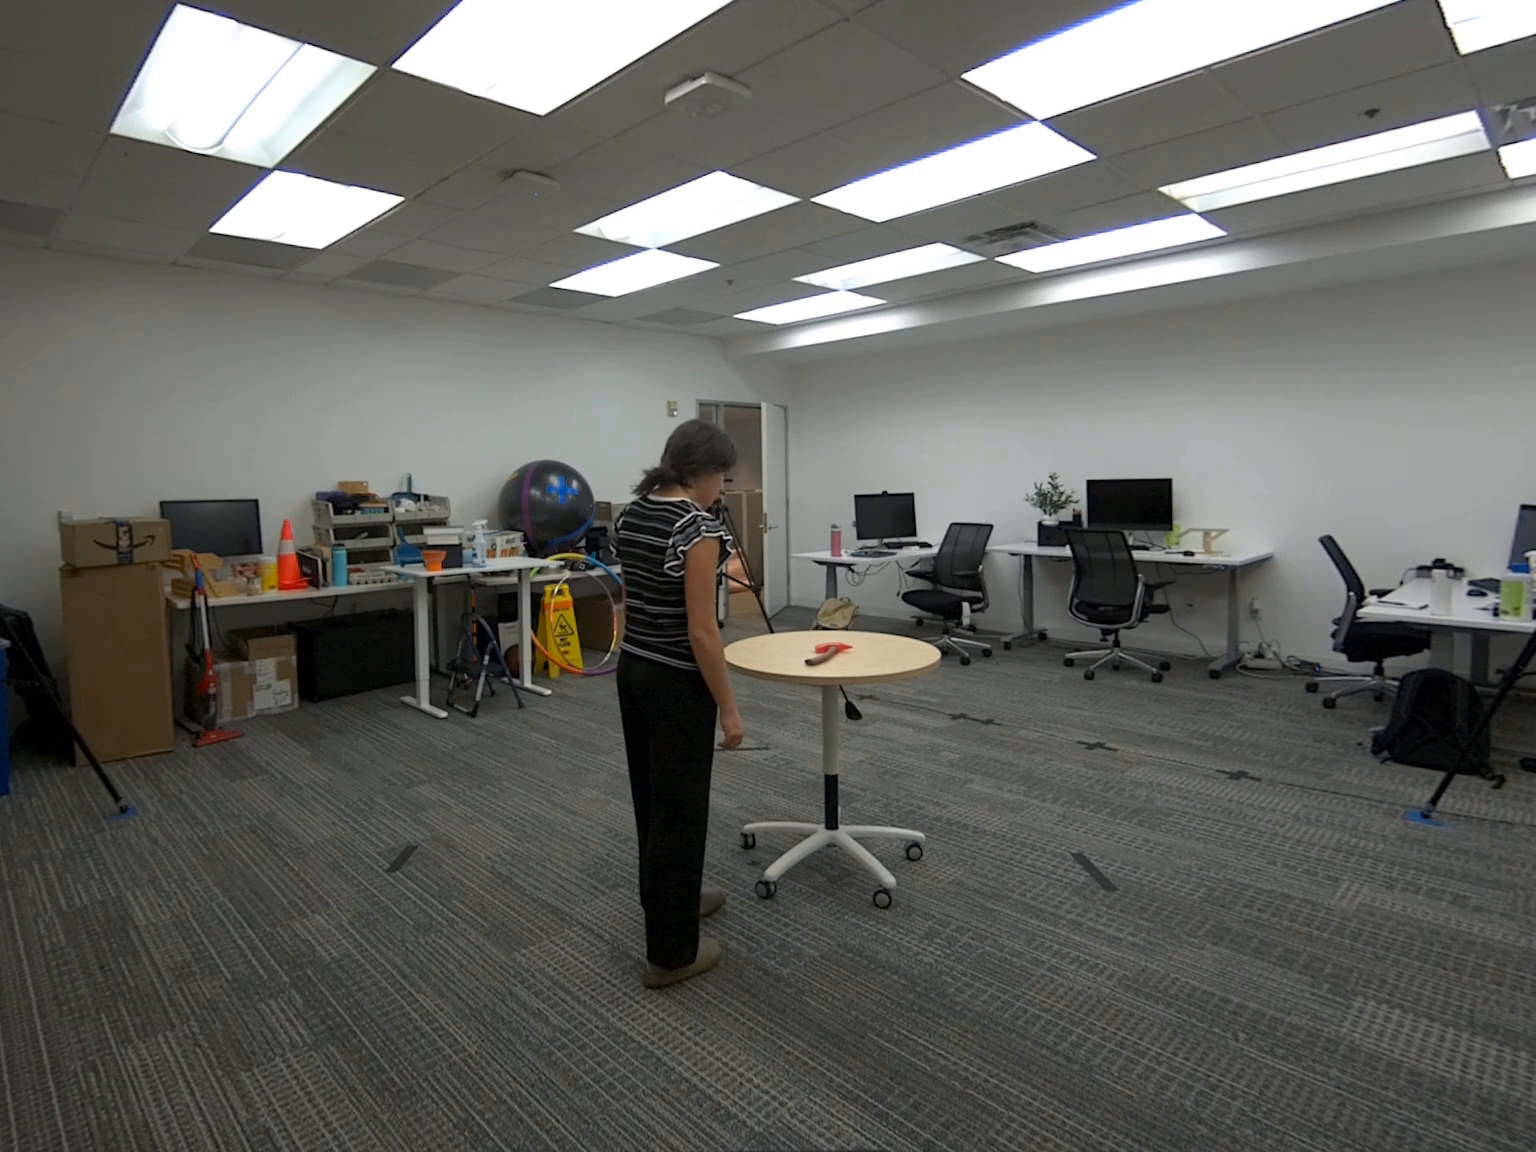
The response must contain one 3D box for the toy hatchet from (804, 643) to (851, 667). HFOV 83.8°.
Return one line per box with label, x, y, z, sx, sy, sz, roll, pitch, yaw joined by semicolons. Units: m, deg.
toy hatchet;0.190;0.266;2.926;0.135;0.029;0.264;2;8;34
